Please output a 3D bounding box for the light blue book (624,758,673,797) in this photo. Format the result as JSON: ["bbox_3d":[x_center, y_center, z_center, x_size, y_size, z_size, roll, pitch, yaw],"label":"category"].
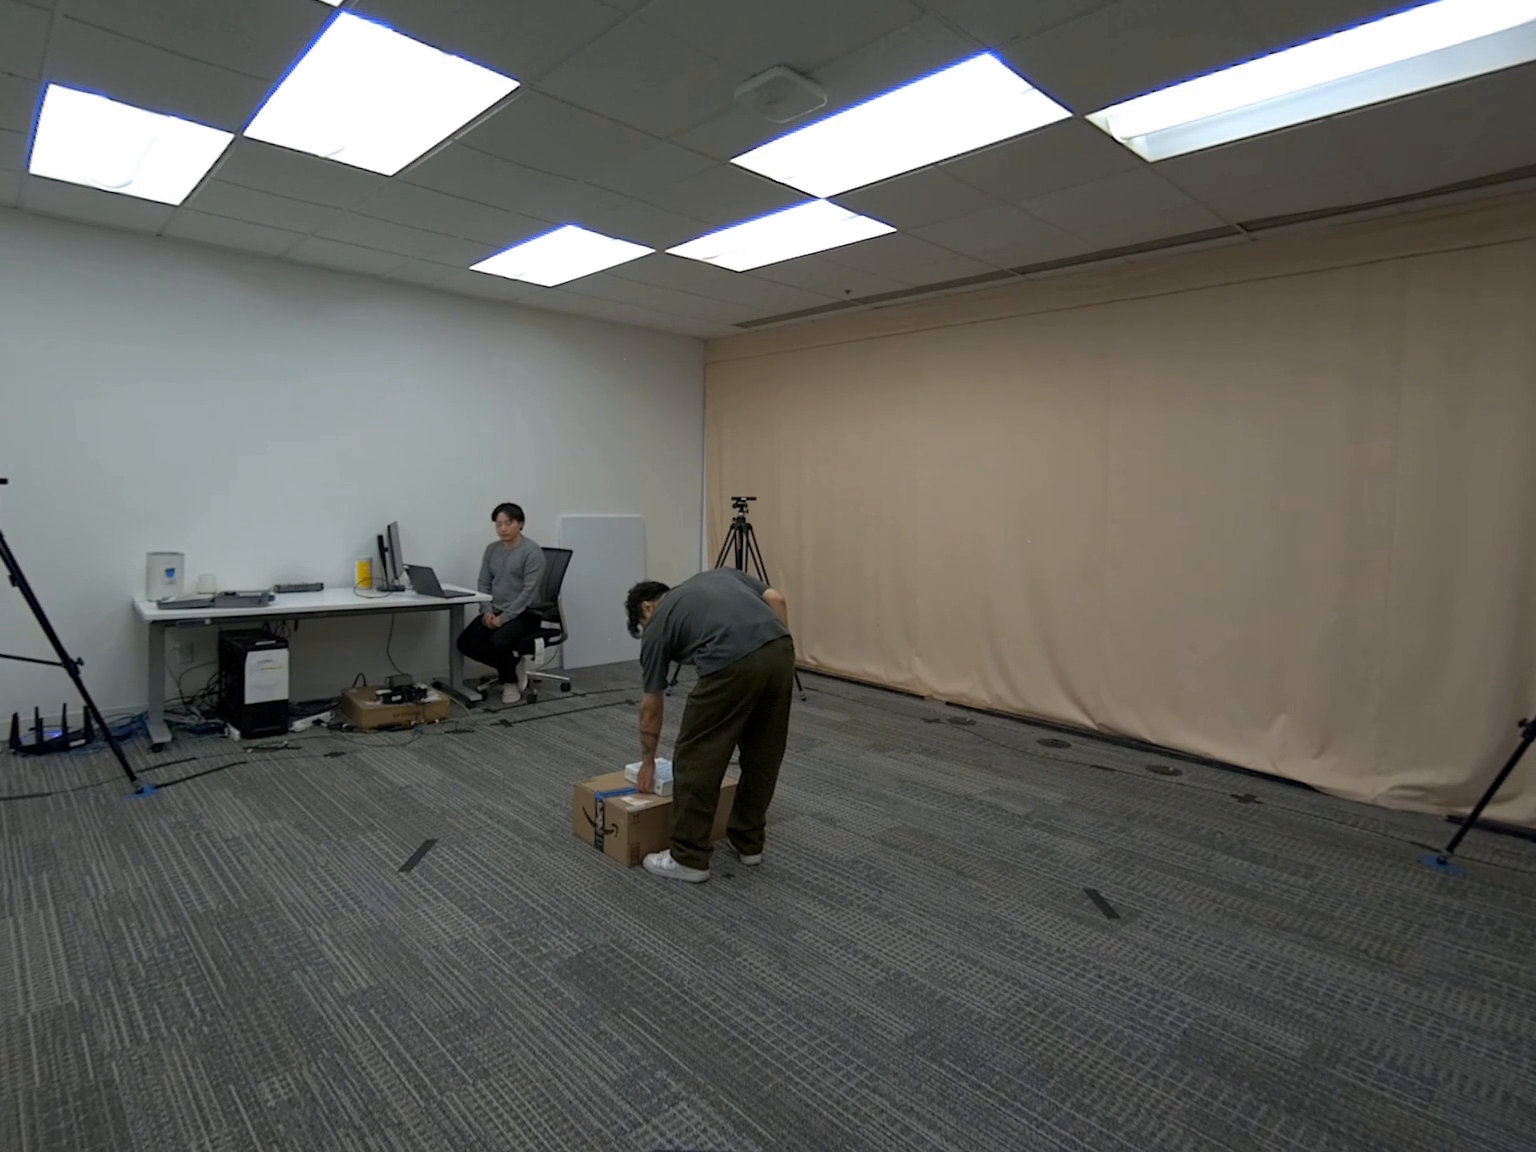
[{"bbox_3d":[-0.449,0.832,3.497,0.187,0.059,0.268,-3,7,-43],"label":"light blue book"}]
